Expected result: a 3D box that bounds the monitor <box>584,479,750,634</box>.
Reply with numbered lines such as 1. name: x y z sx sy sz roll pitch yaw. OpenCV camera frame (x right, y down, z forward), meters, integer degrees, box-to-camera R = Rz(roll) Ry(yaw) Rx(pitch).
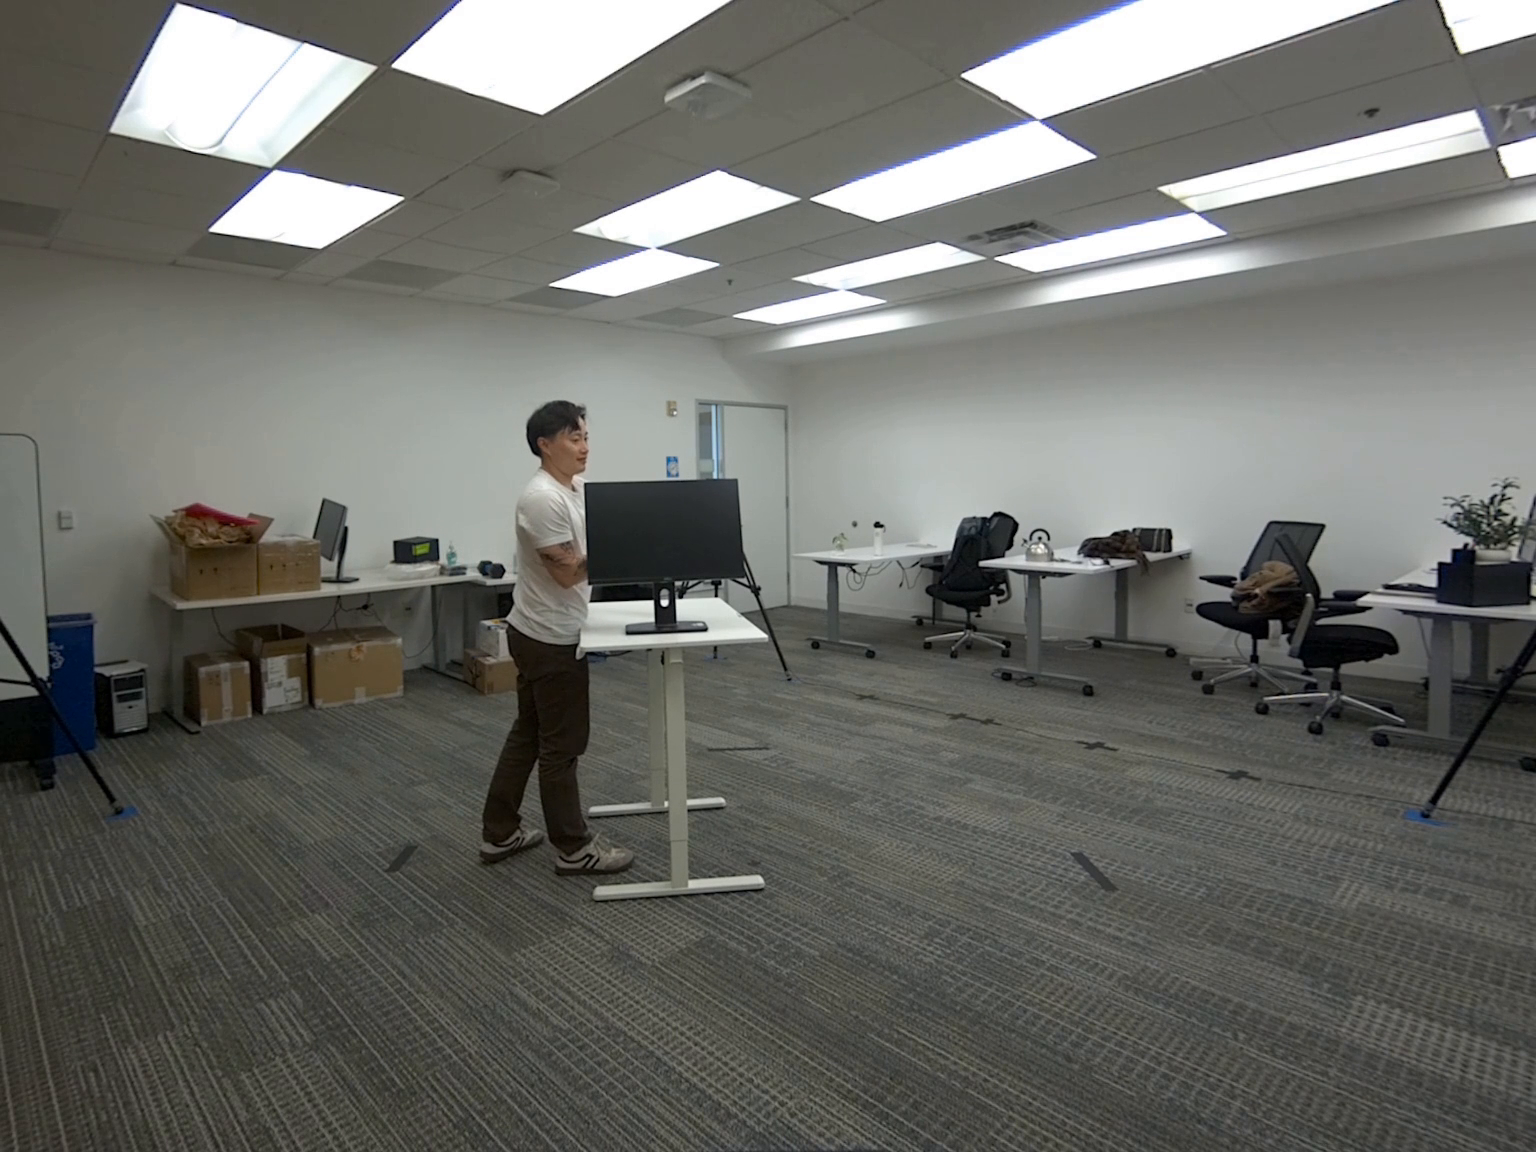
1. monitor: -0.359 -0.069 2.947 0.533 0.522 0.189 -2 1 -11
